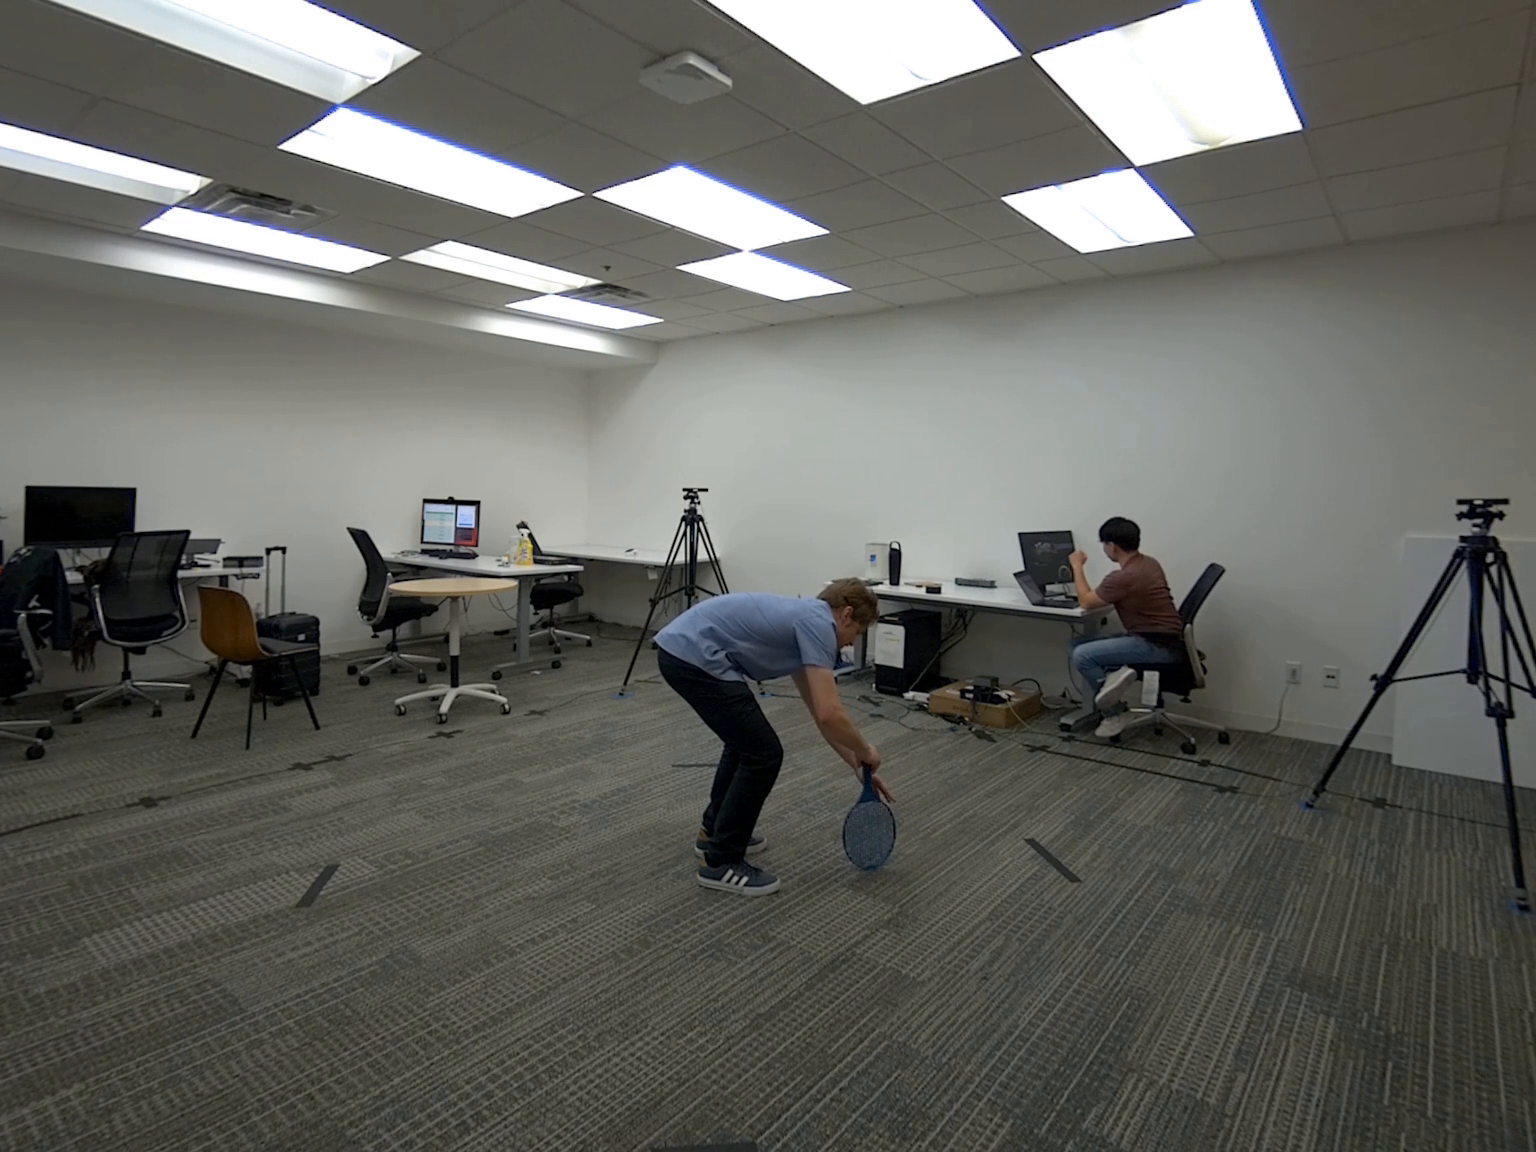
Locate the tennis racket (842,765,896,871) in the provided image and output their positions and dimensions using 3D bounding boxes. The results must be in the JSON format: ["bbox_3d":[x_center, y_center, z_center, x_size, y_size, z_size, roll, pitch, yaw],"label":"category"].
[{"bbox_3d":[0.362,0.865,3.129,0.210,0.431,0.032,-4,5,-17],"label":"tennis racket"}]
